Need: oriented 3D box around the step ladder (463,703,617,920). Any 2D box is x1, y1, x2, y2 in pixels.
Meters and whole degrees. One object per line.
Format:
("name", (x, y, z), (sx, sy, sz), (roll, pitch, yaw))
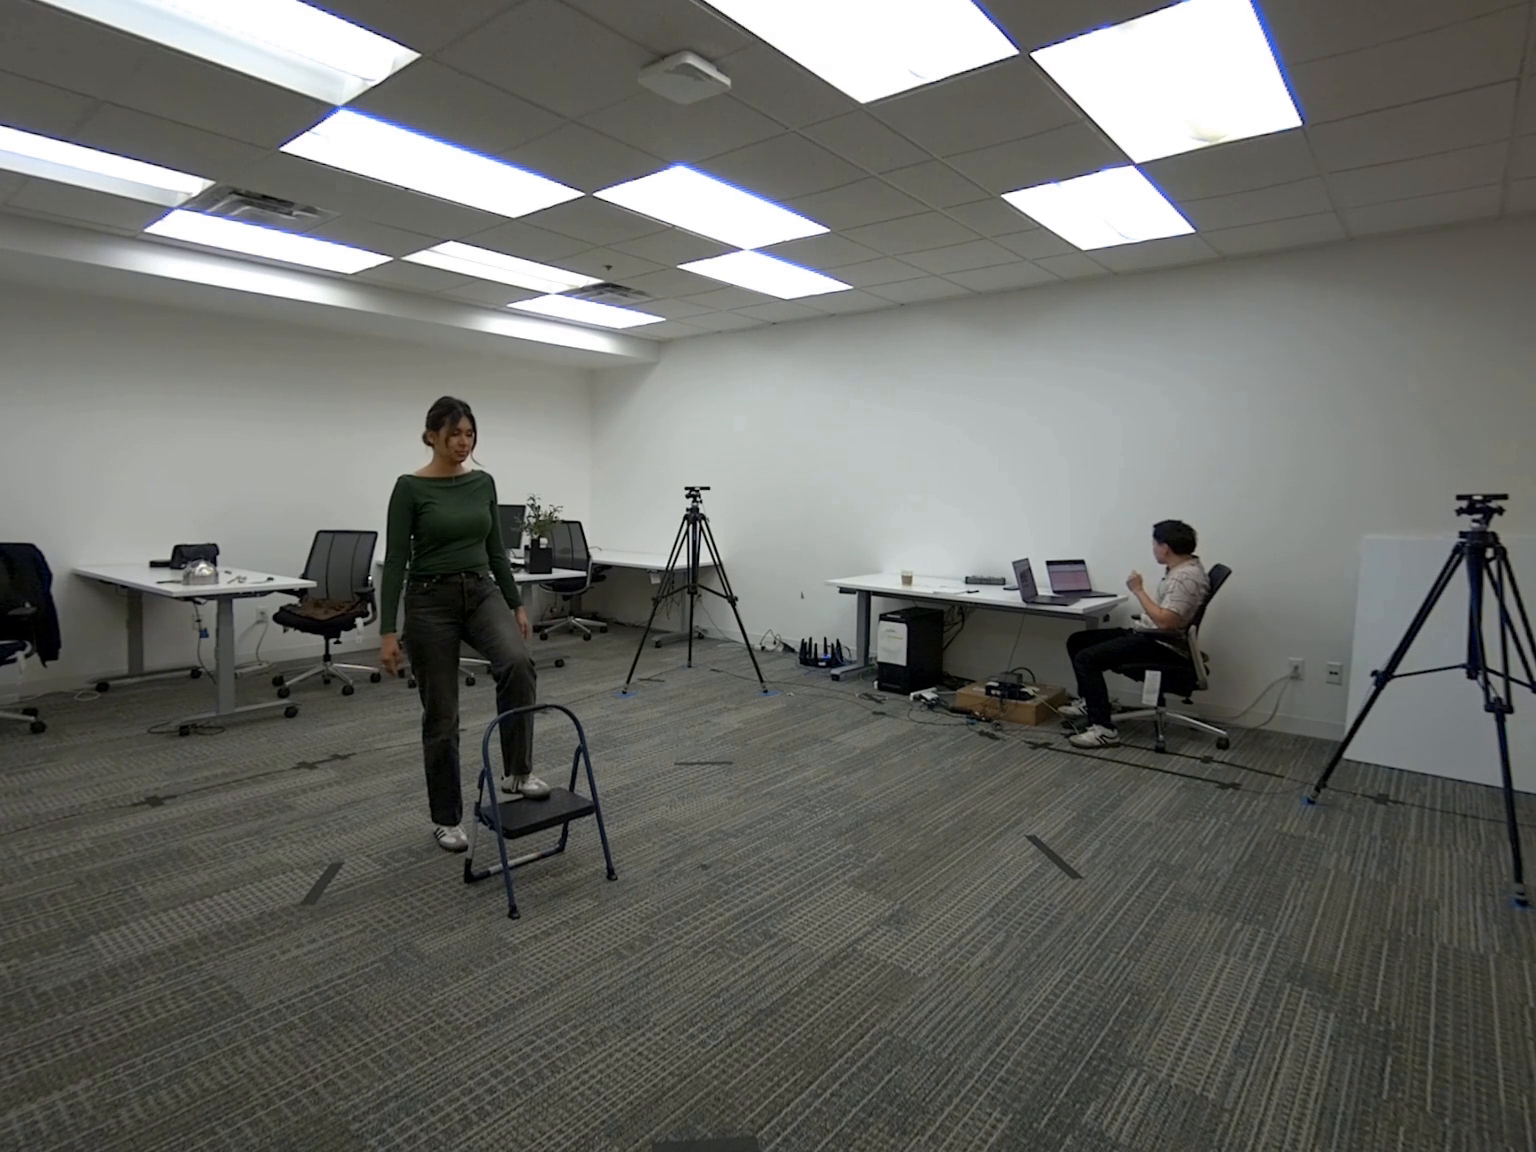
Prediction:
("step ladder", (-0.805, 0.768, 2.975), (0.361, 0.604, 0.417), (3, 4, 43))
